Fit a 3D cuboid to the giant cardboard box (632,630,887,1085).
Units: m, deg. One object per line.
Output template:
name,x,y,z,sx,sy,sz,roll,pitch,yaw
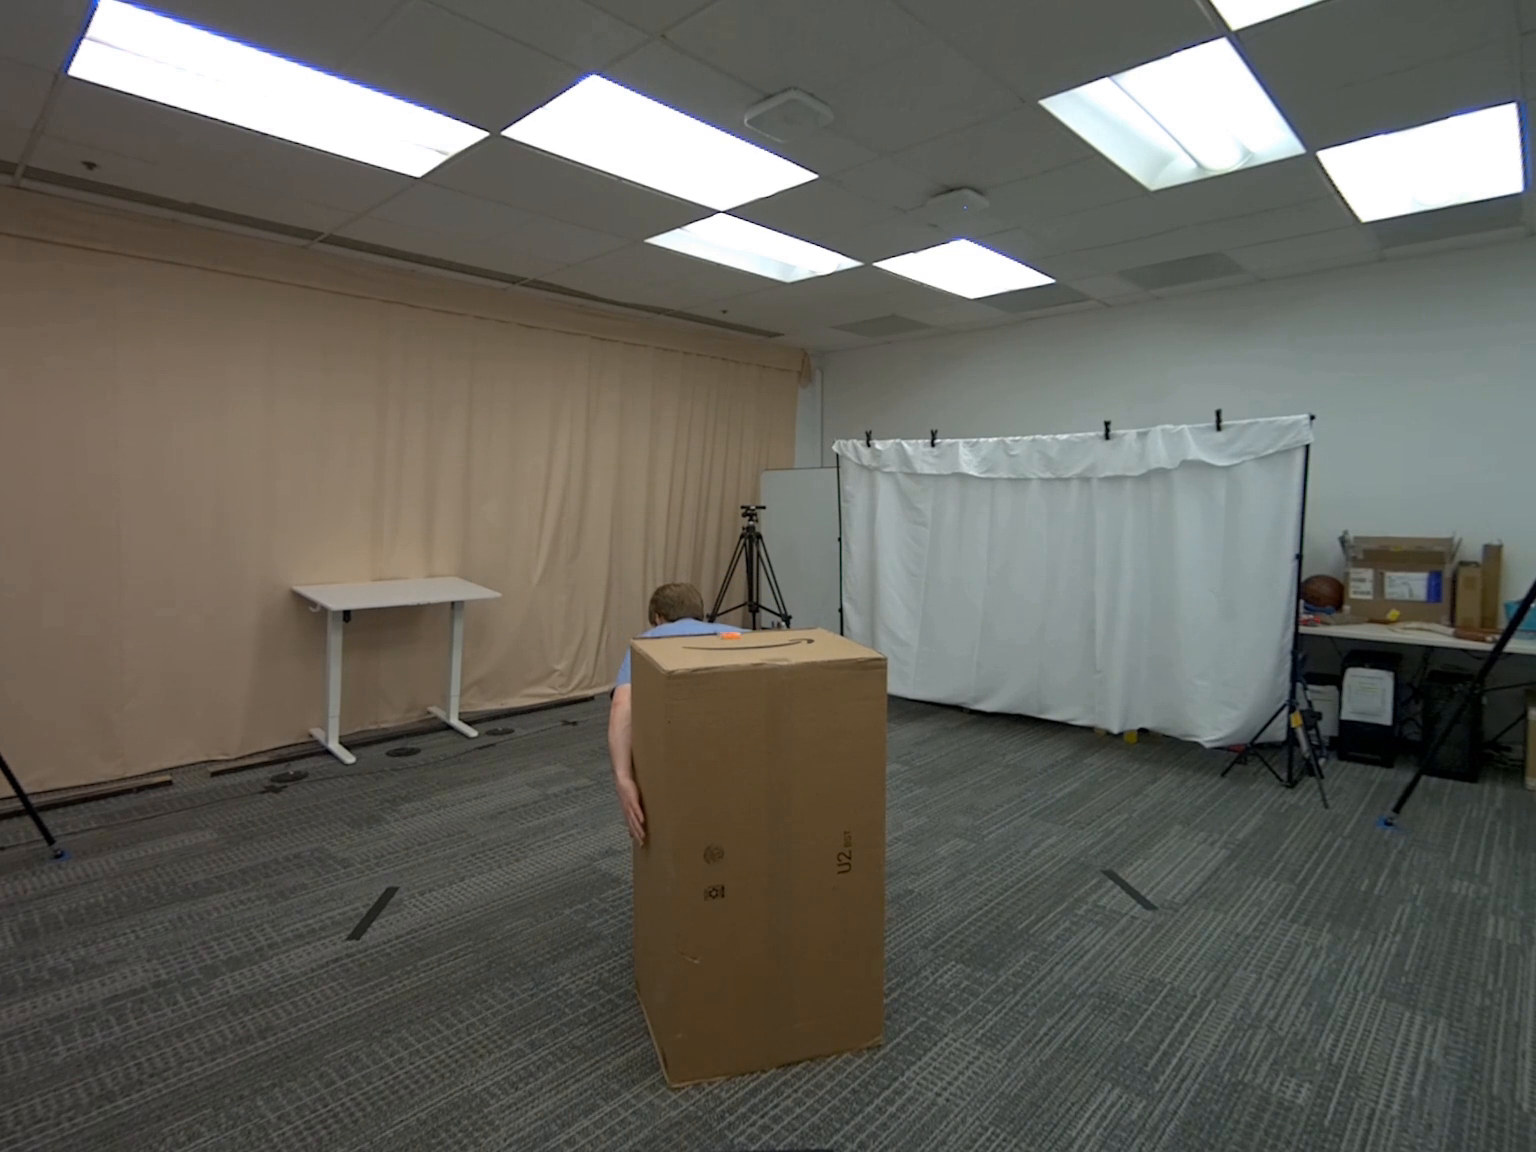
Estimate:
giant cardboard box,-0.035,0.696,2.246,0.573,1.023,0.457,-2,6,-19
